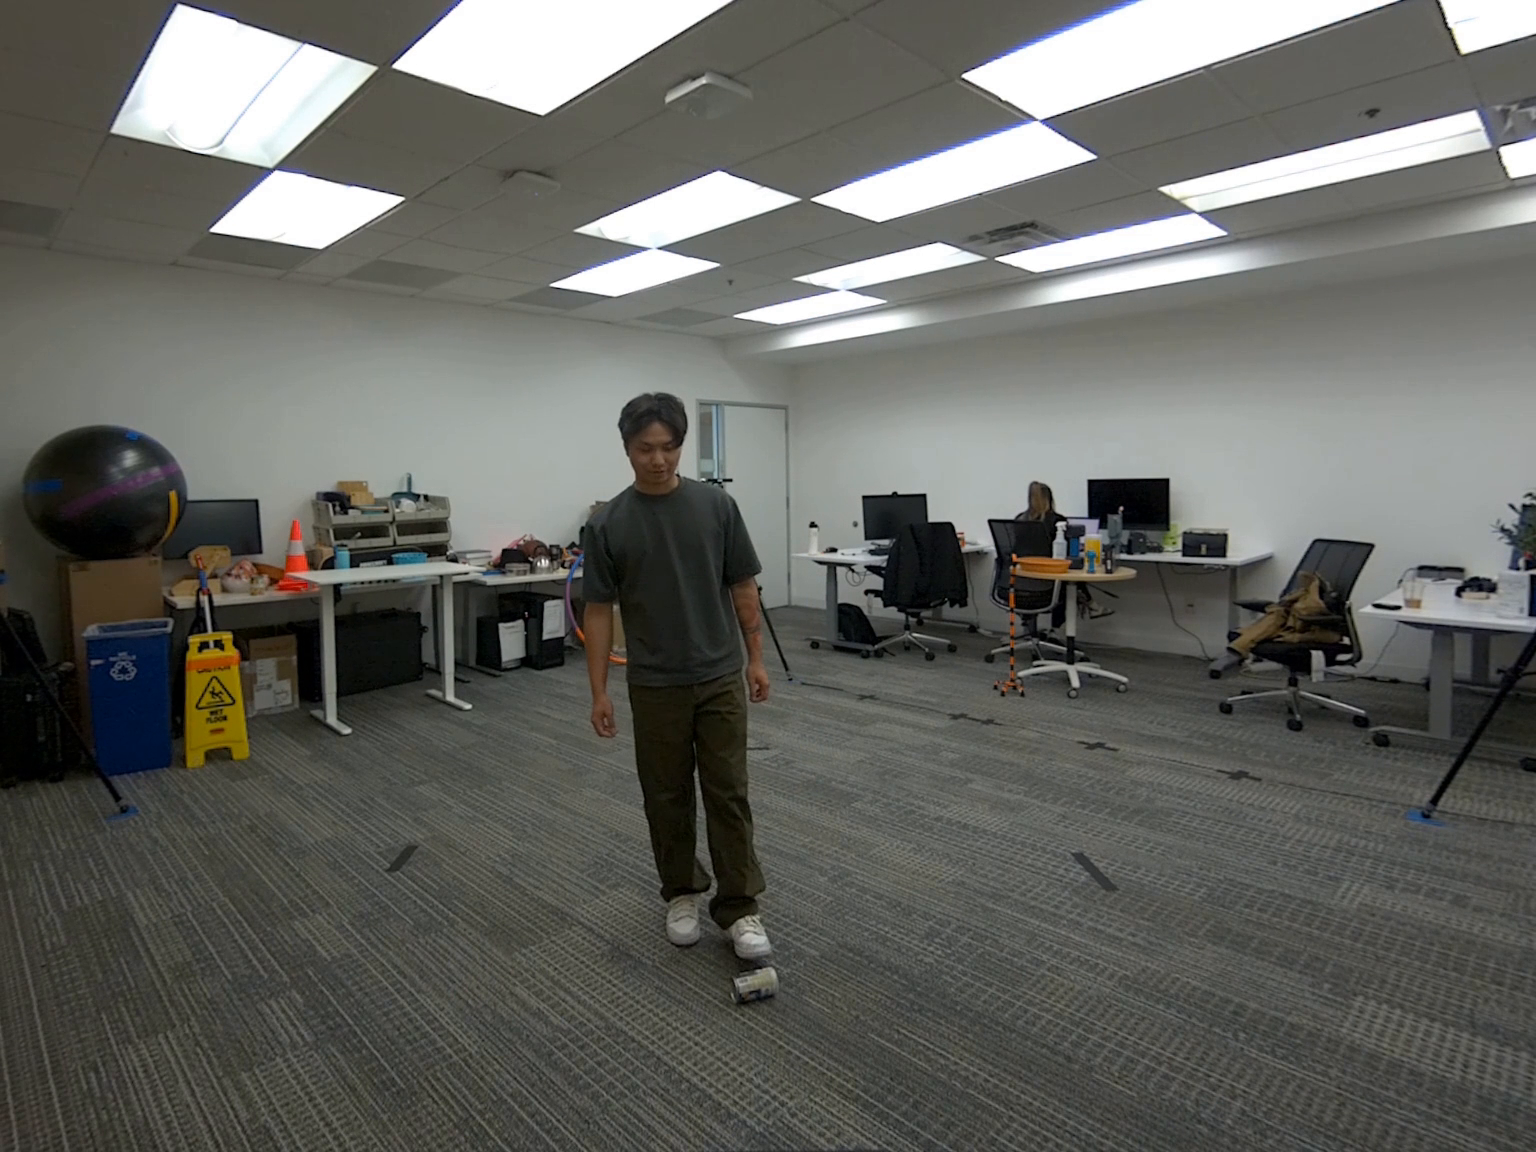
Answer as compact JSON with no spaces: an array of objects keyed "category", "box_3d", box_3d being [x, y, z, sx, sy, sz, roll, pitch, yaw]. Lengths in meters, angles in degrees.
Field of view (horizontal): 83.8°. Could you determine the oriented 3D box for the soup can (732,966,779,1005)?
[{"category":"soup can","box_3d":[-0.034,1.108,2.306,0.120,0.067,0.068,-6,6,-13]}]
